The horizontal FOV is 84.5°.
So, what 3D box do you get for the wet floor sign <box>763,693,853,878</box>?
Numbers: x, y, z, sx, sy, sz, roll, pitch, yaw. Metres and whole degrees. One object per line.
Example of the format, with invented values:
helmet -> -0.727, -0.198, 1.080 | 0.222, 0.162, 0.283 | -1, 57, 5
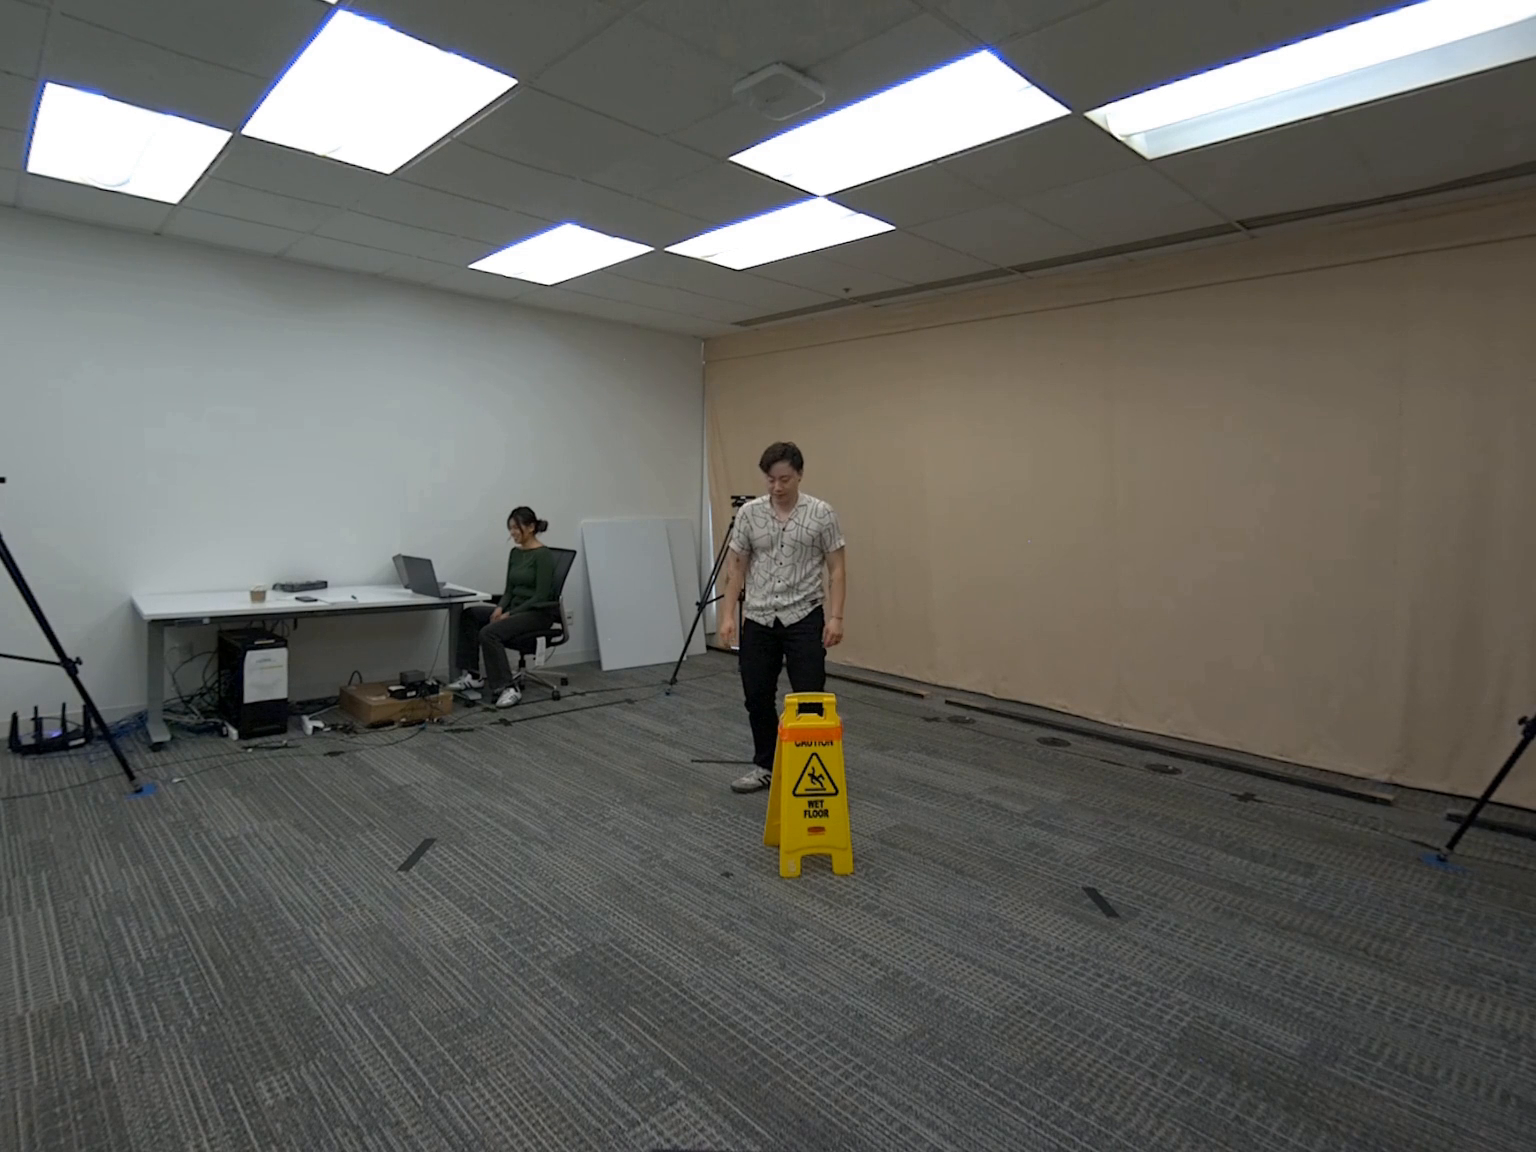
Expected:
wet floor sign -> 0.146, 0.772, 3.241 | 0.280, 0.644, 0.293 | 1, 4, -12
